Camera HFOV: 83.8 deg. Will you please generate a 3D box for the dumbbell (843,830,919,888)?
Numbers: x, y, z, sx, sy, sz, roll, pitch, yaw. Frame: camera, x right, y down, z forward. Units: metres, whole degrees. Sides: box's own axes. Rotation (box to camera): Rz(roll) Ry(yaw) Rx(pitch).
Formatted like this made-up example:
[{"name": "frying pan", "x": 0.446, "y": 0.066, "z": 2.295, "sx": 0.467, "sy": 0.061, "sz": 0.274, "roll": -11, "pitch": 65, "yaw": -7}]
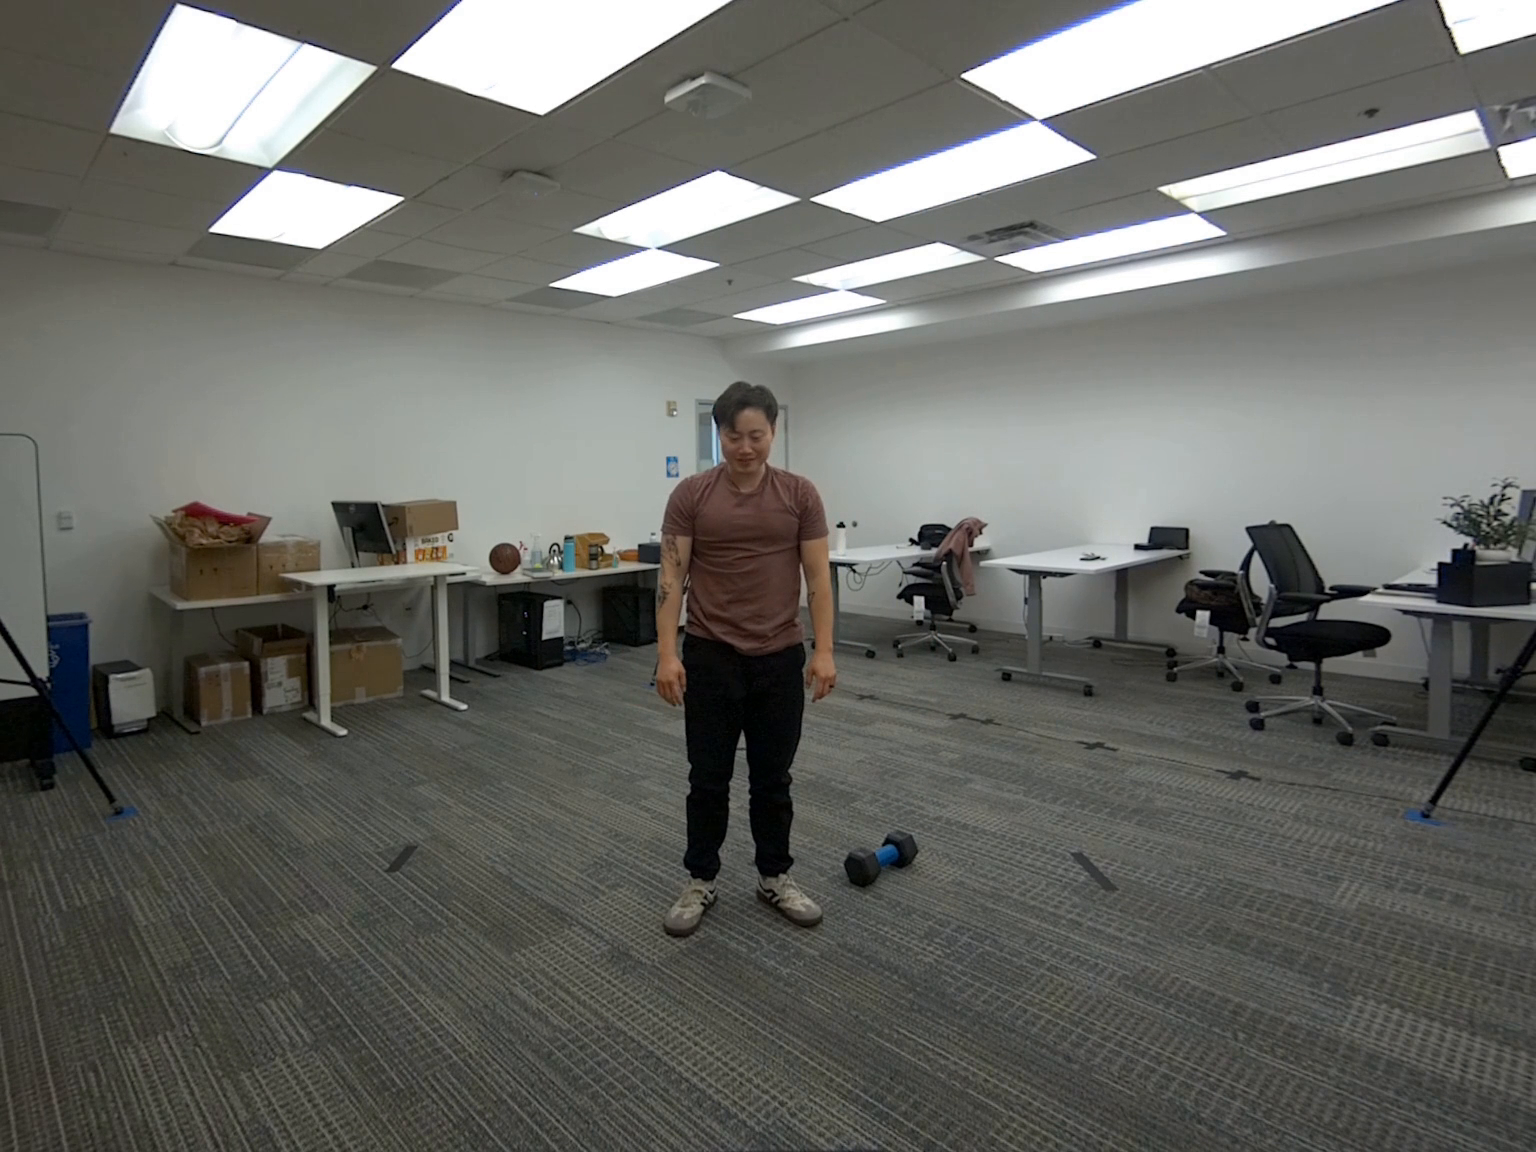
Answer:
[{"name": "dumbbell", "x": 0.403, "y": 0.993, "z": 3.013, "sx": 0.286, "sy": 0.121, "sz": 0.113, "roll": -6, "pitch": 38, "yaw": -43}]
